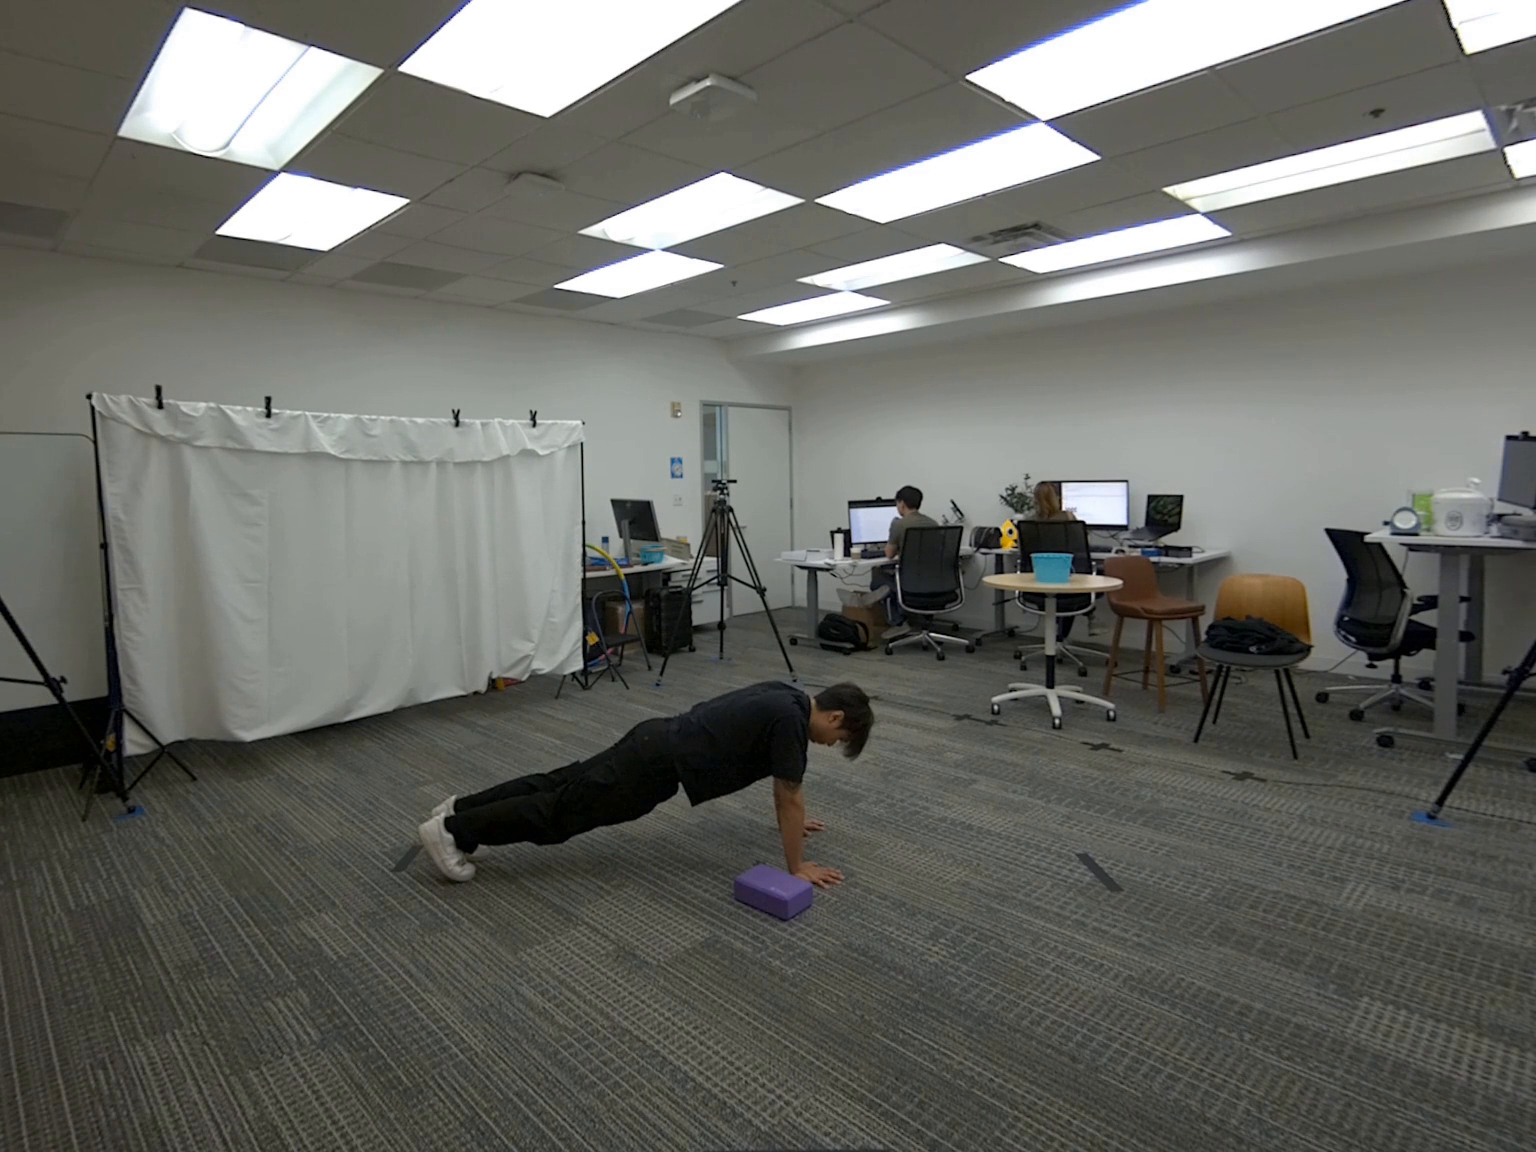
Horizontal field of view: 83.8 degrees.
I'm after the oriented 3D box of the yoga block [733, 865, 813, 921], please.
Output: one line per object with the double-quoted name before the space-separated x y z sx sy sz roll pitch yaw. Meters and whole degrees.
"yoga block" 0.019 1.037 2.822 0.236 0.076 0.145 5 9 40
